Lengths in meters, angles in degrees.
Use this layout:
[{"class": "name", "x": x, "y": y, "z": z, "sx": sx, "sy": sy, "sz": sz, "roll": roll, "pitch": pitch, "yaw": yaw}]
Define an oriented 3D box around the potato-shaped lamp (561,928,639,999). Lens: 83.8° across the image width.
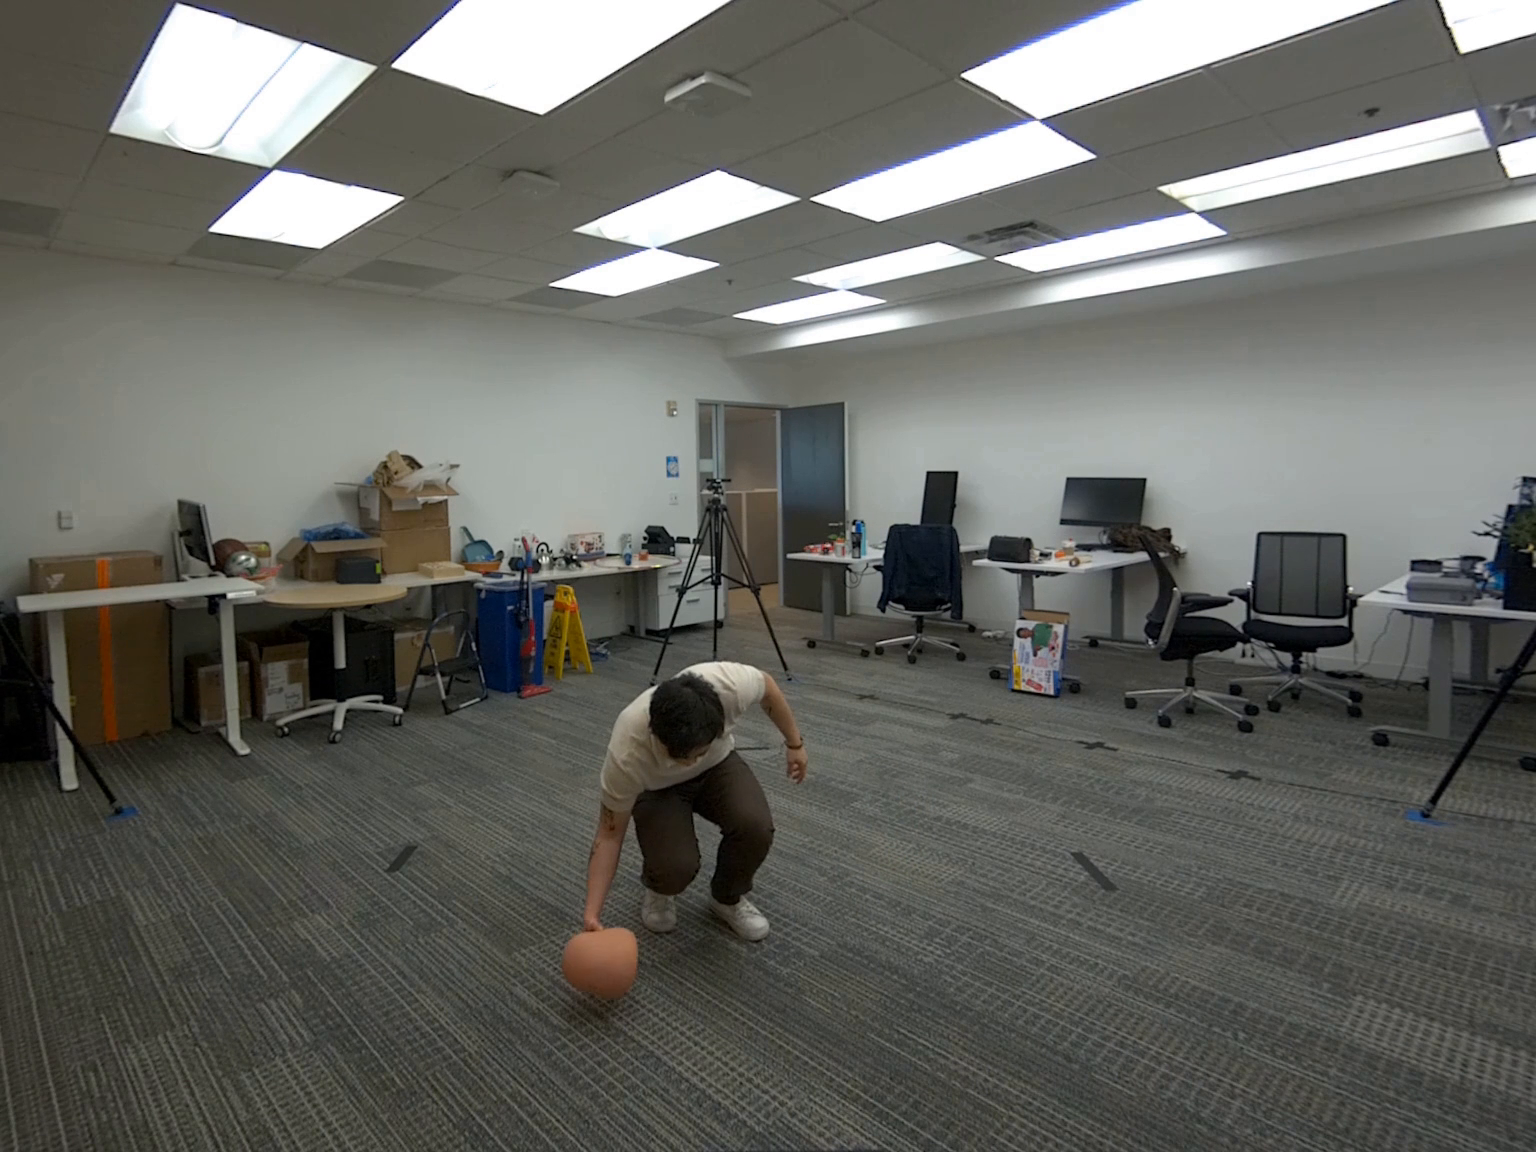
[{"class": "potato-shaped lamp", "x": -0.438, "y": 1.015, "z": 2.264, "sx": 0.195, "sy": 0.165, "sz": 0.173, "roll": 12, "pitch": -6, "yaw": -15}]
